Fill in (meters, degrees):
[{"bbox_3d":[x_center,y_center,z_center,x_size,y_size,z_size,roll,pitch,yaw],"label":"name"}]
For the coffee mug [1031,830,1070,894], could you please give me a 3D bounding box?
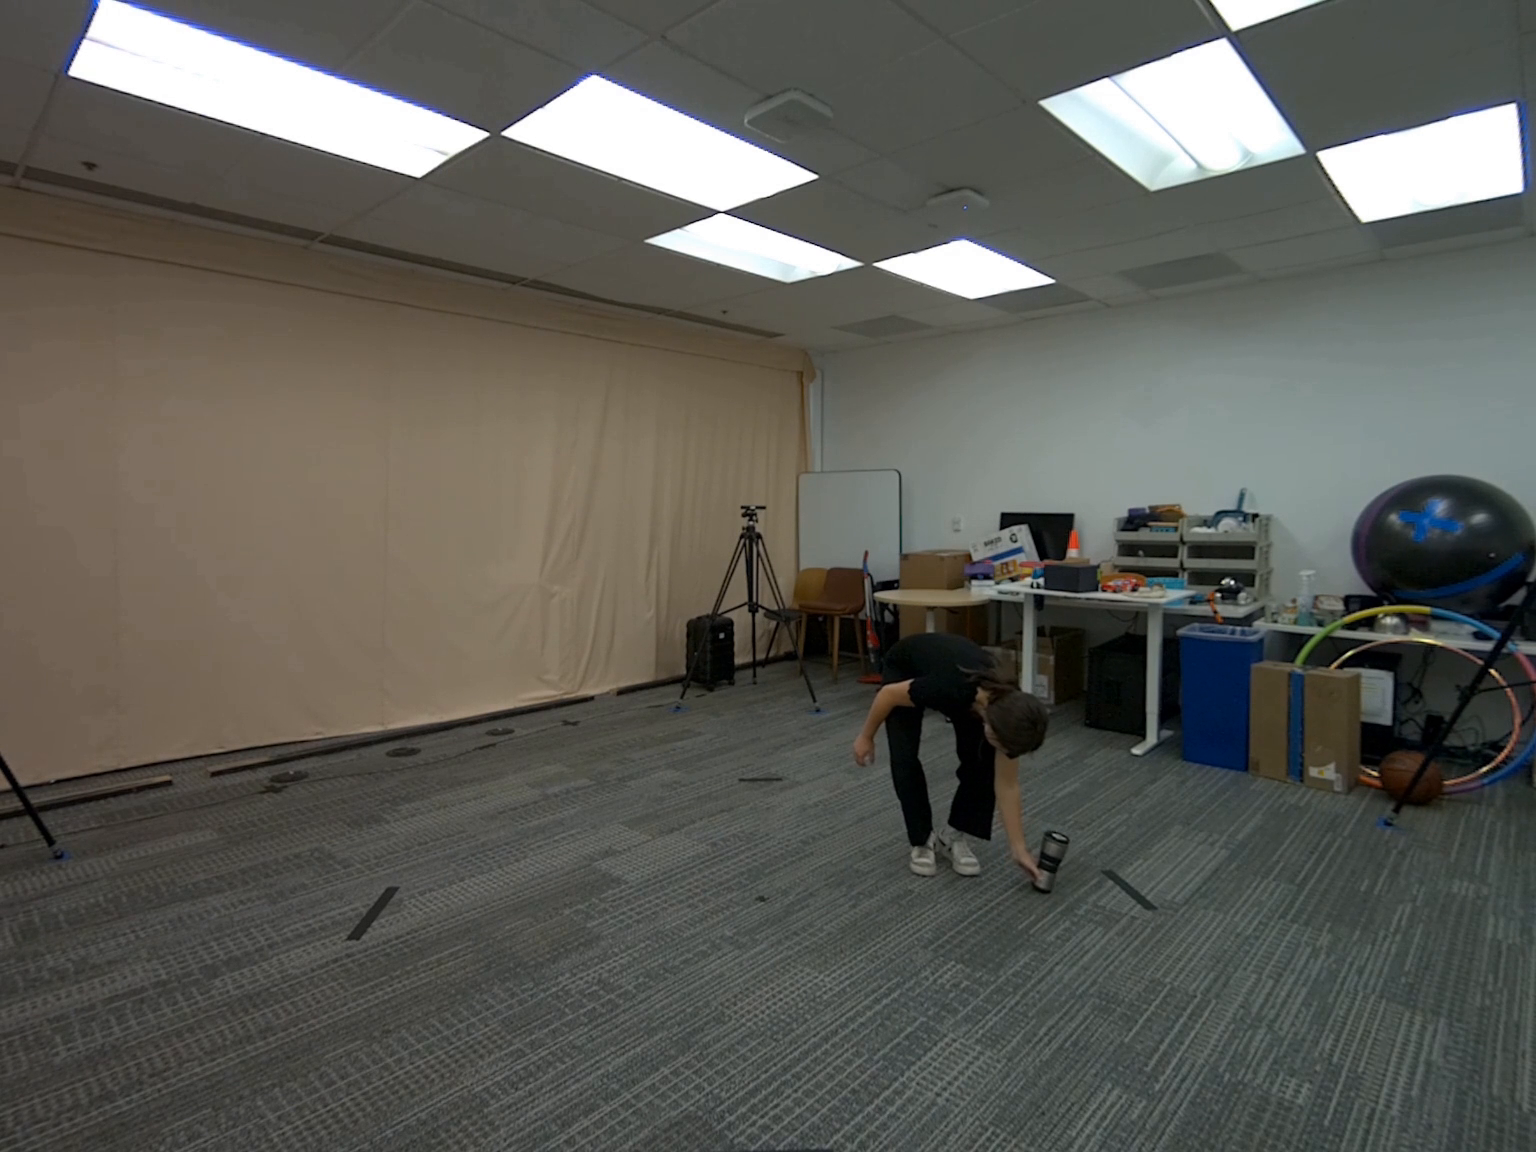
[{"bbox_3d":[1.042,1.042,3.051,0.091,0.203,0.118,17,4,40],"label":"coffee mug"}]
